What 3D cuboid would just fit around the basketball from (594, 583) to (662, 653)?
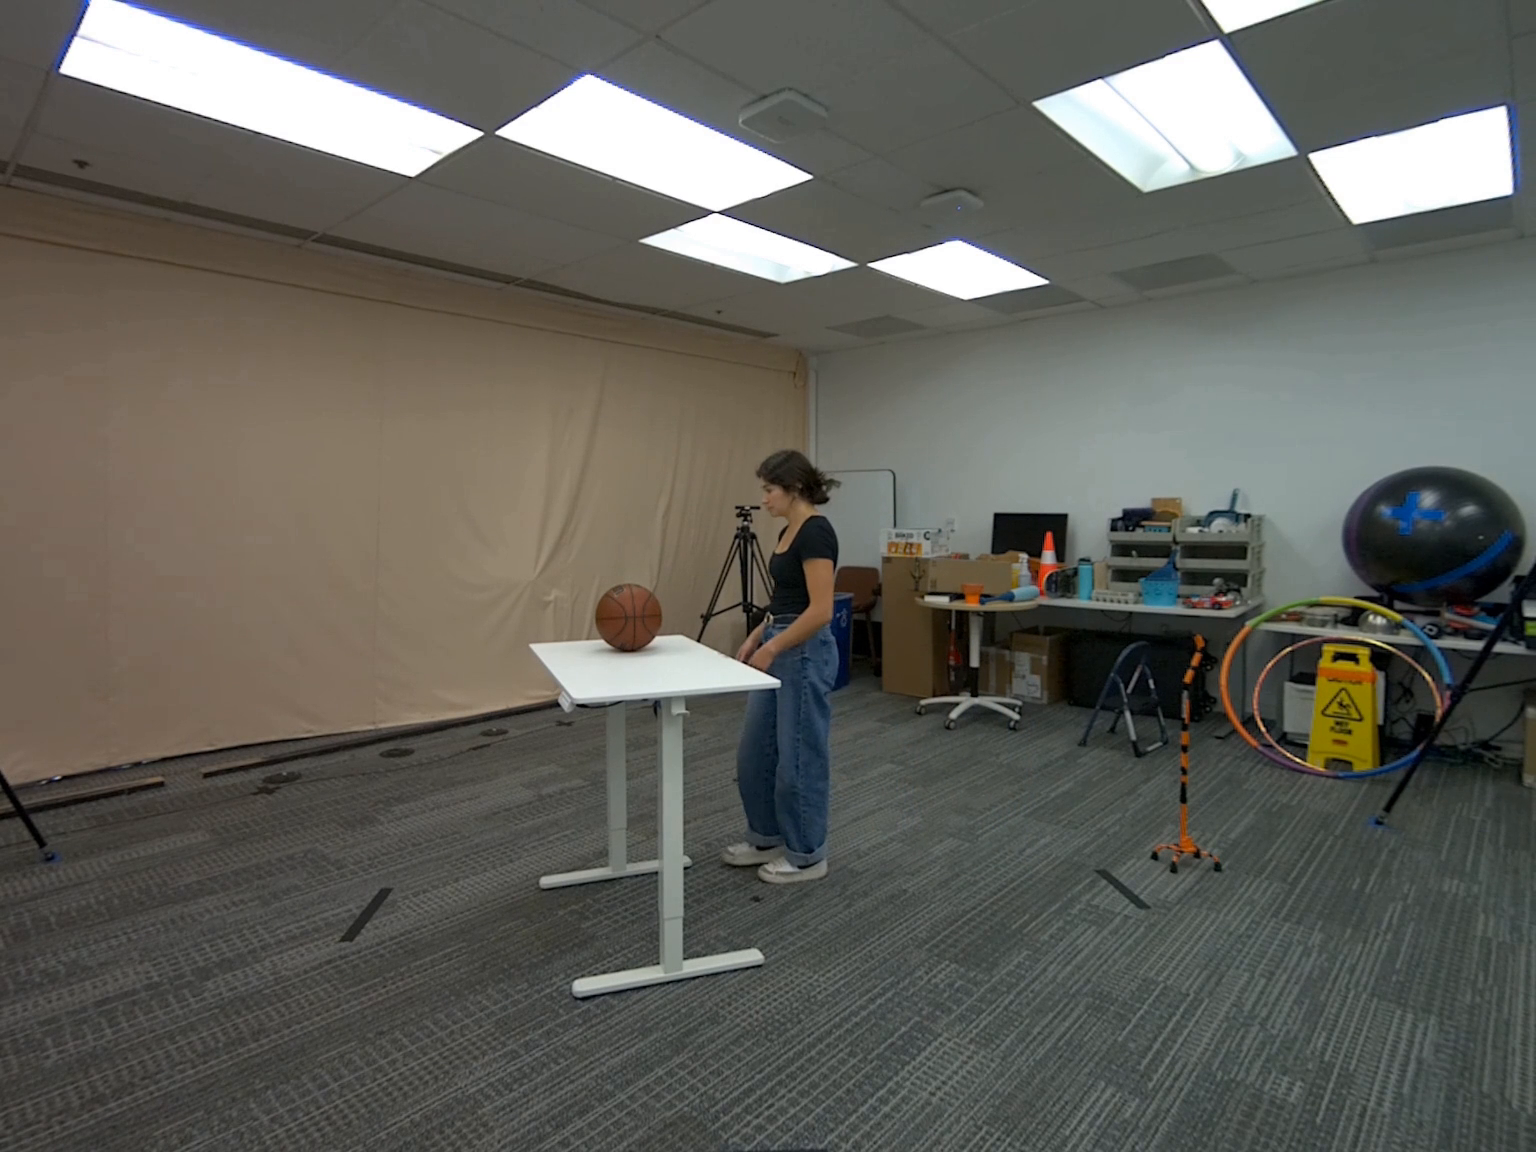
[{"bbox_3d":[-0.493,0.147,3.005,0.236,0.235,0.237,0,4,-2],"label":"basketball"}]
